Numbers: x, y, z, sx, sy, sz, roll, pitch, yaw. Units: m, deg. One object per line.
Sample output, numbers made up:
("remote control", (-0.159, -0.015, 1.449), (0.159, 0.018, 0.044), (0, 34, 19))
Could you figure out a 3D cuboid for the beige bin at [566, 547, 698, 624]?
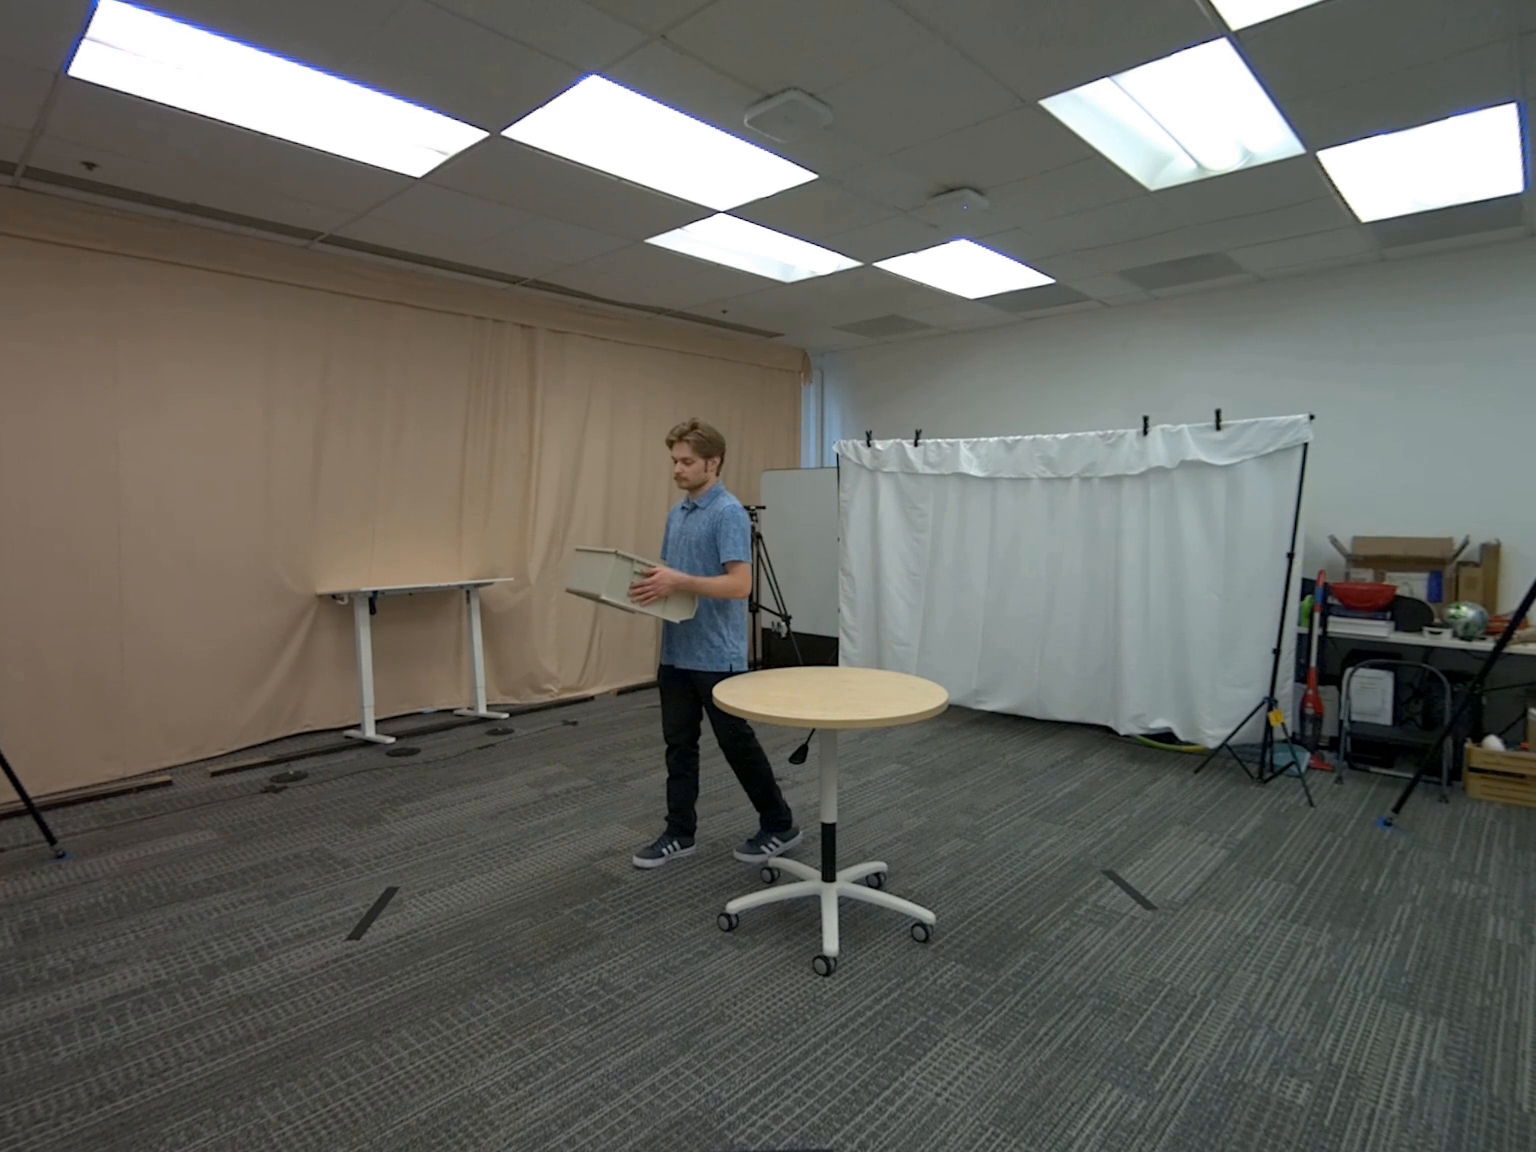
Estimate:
("beige bin", (-0.512, 0.036, 3.160), (0.365, 0.189, 0.435), (20, -7, -32))
